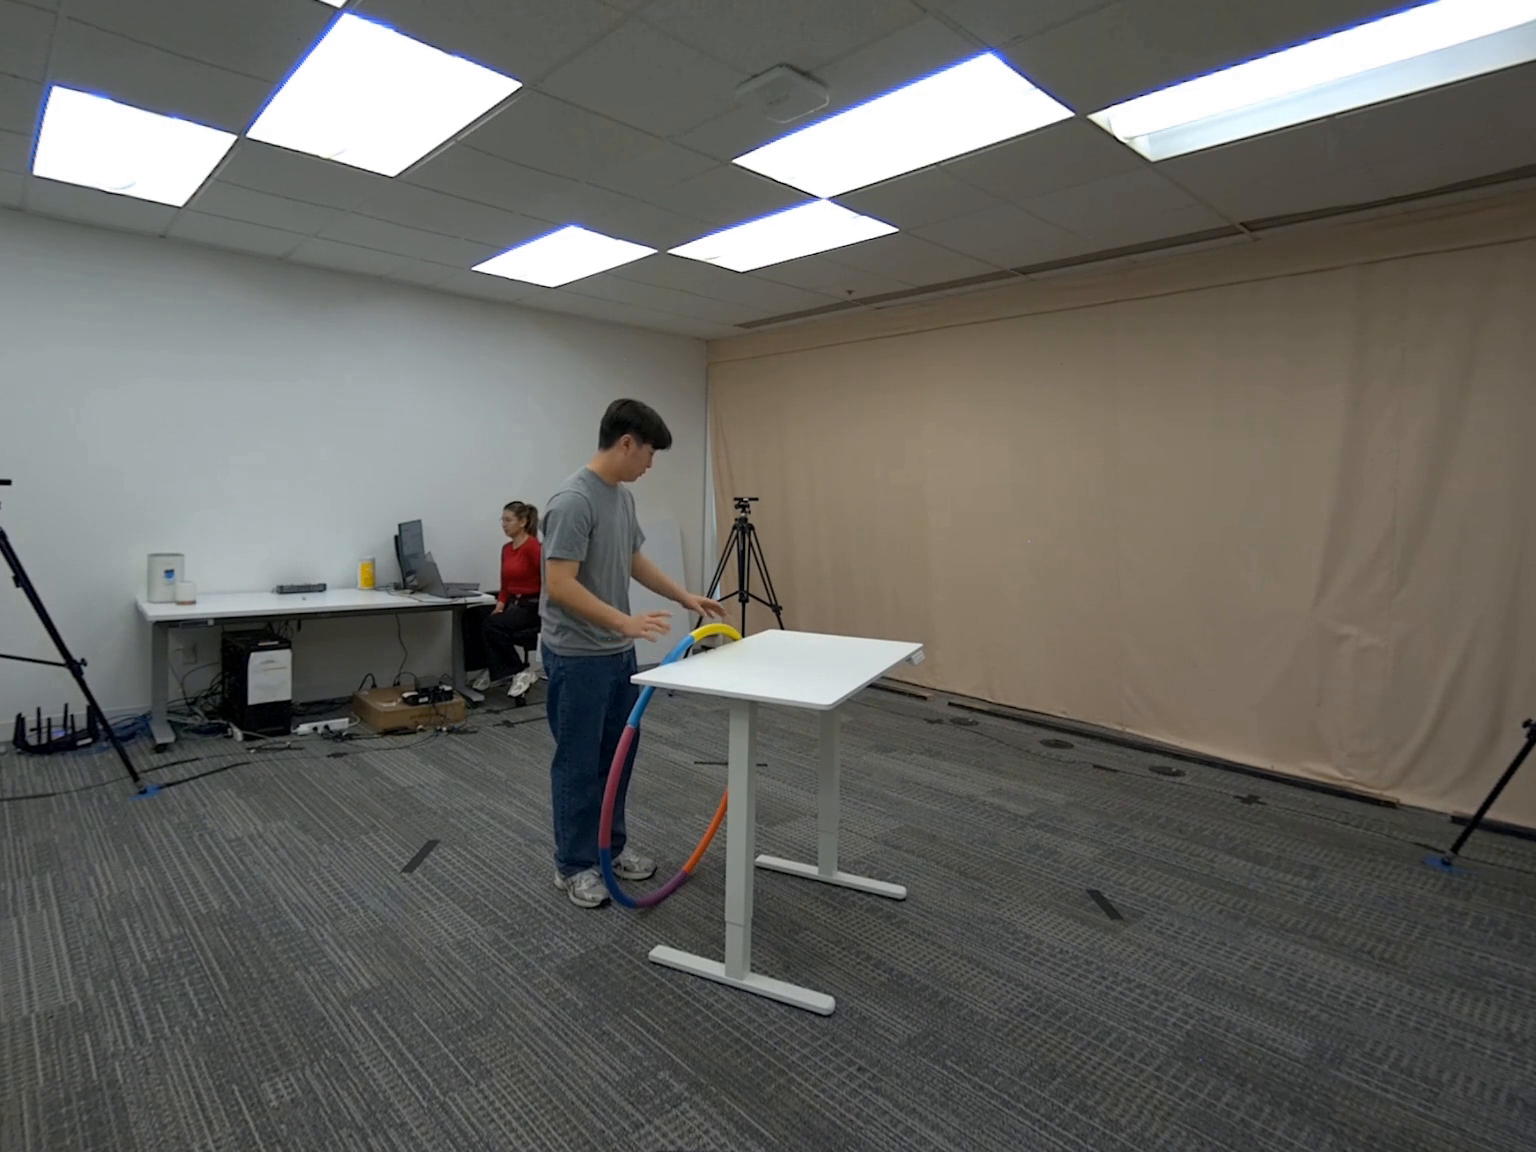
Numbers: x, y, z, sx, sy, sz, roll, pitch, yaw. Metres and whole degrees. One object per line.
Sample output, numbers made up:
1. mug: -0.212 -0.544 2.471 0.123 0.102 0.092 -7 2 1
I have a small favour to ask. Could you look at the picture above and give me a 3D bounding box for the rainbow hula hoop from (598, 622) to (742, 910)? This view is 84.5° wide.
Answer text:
1. rainbow hula hoop: -0.291 0.641 2.890 0.036 0.974 0.963 13 8 21
